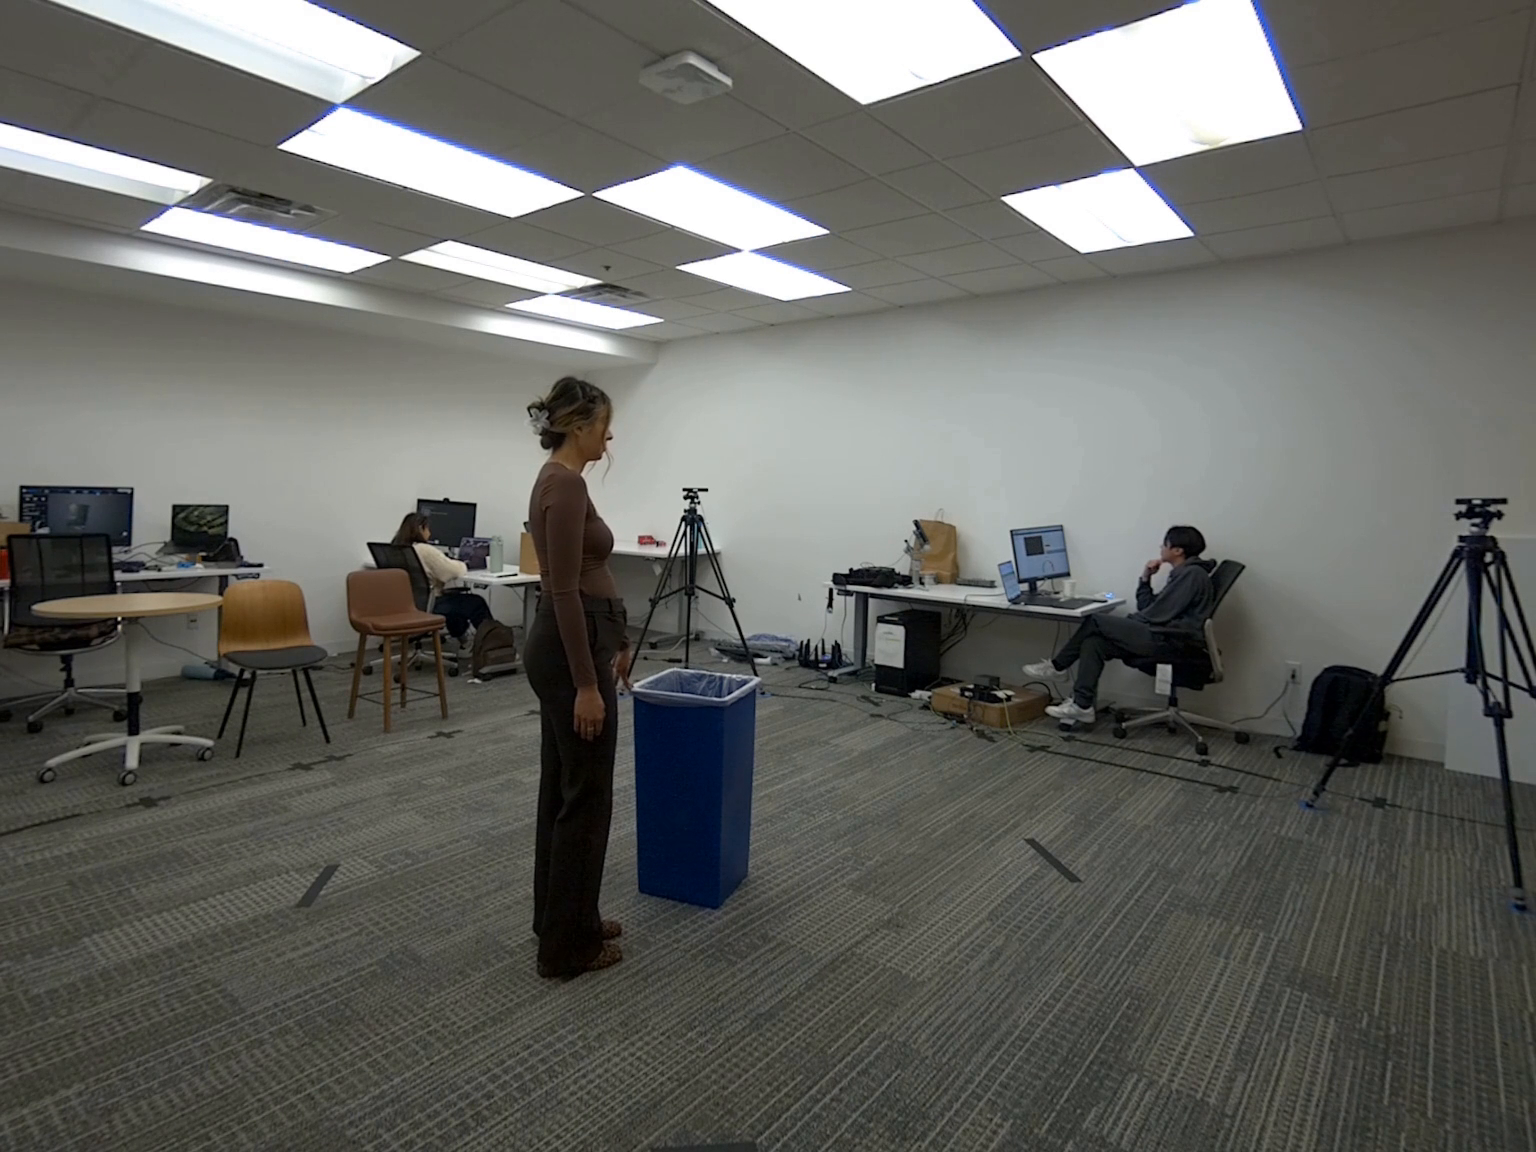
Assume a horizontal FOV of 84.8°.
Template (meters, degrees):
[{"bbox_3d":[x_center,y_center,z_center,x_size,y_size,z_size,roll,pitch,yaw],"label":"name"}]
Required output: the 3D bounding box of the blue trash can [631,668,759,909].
[{"bbox_3d":[-0.261,0.721,2.977,0.387,0.712,0.366,2,3,21],"label":"blue trash can"}]
